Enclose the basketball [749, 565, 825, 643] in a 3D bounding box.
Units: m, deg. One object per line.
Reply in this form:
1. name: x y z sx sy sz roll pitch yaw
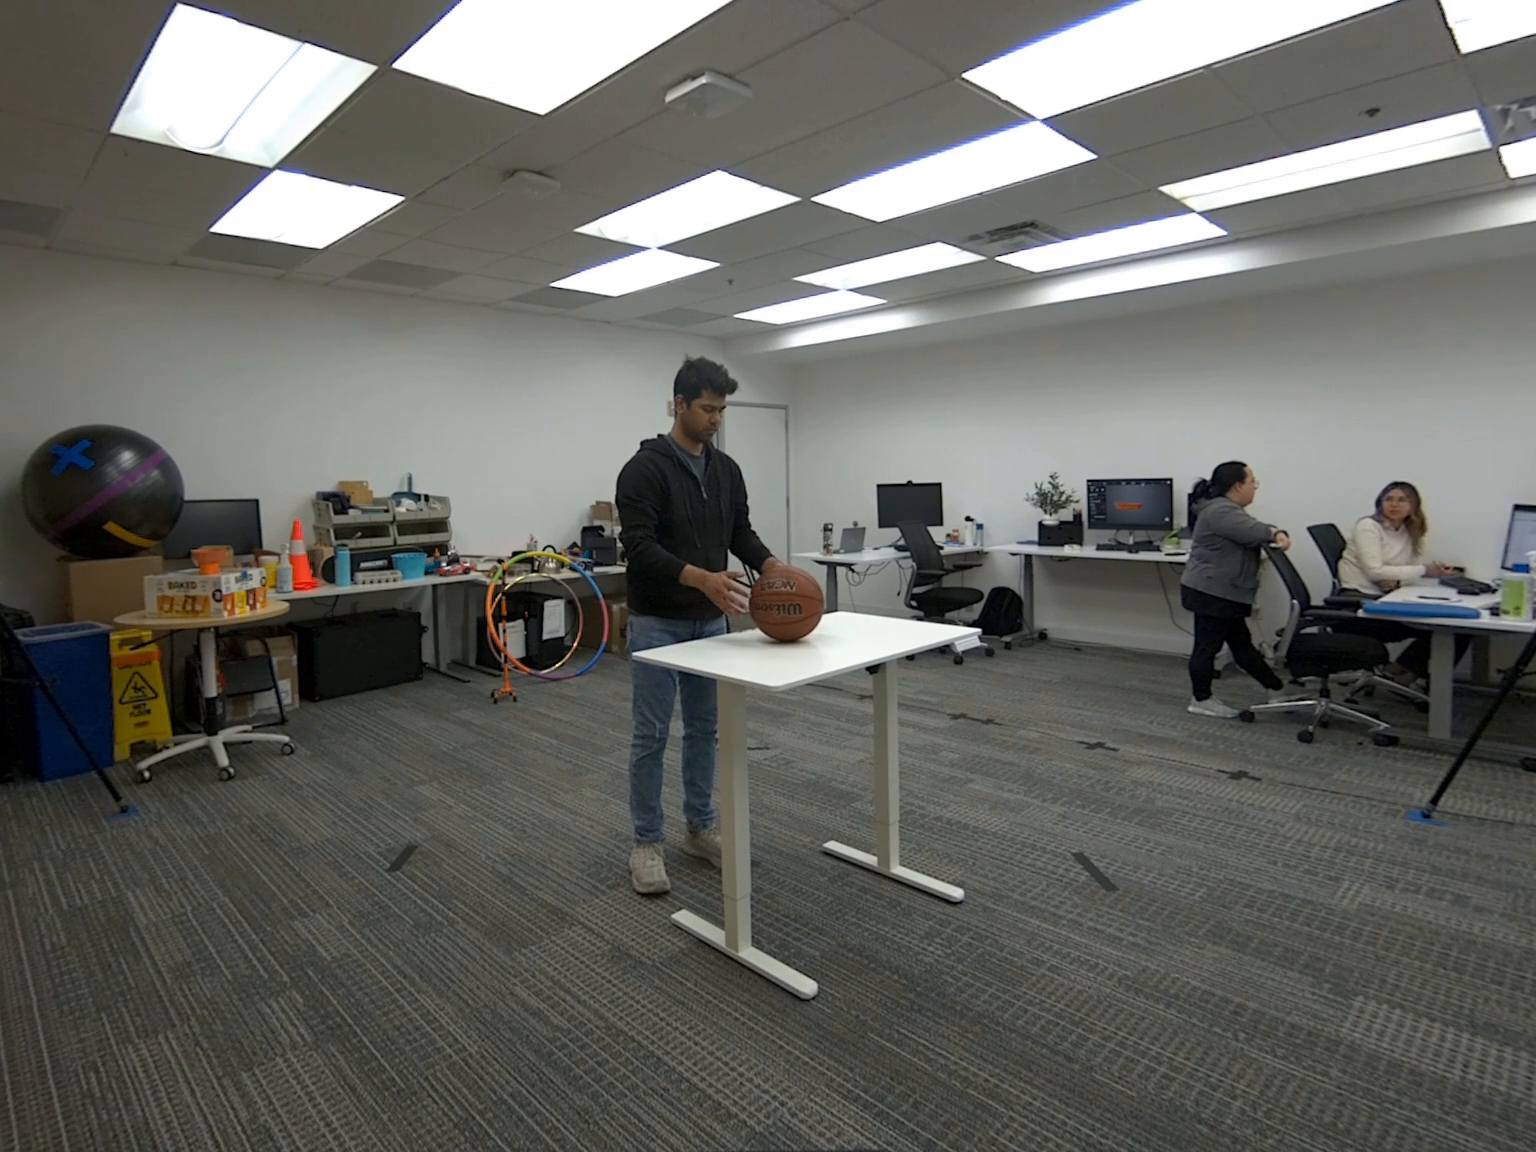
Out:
1. basketball: 0.054 0.082 2.716 0.236 0.235 0.237 -1 5 -2
